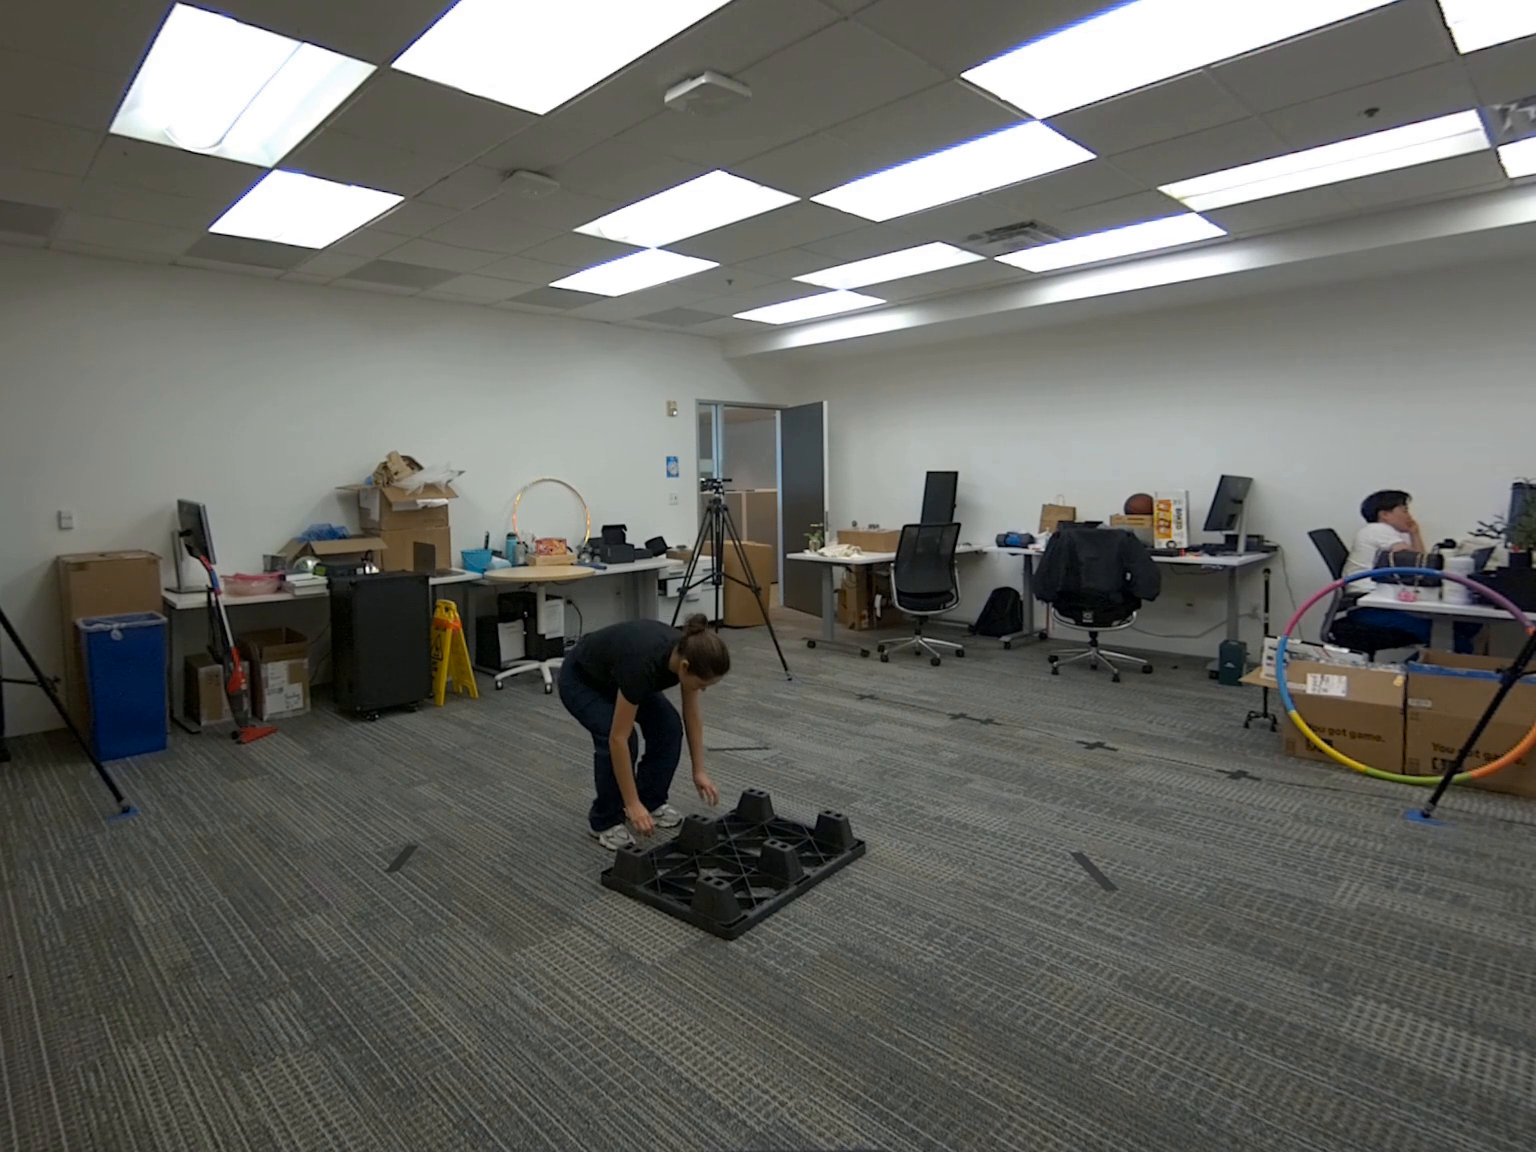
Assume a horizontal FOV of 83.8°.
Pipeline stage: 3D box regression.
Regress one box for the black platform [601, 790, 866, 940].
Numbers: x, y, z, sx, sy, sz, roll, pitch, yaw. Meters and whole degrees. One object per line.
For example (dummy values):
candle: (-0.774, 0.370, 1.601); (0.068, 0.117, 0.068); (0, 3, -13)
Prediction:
black platform: (-0.109, 0.981, 3.084); (0.623, 0.142, 0.785); (5, 8, 39)
